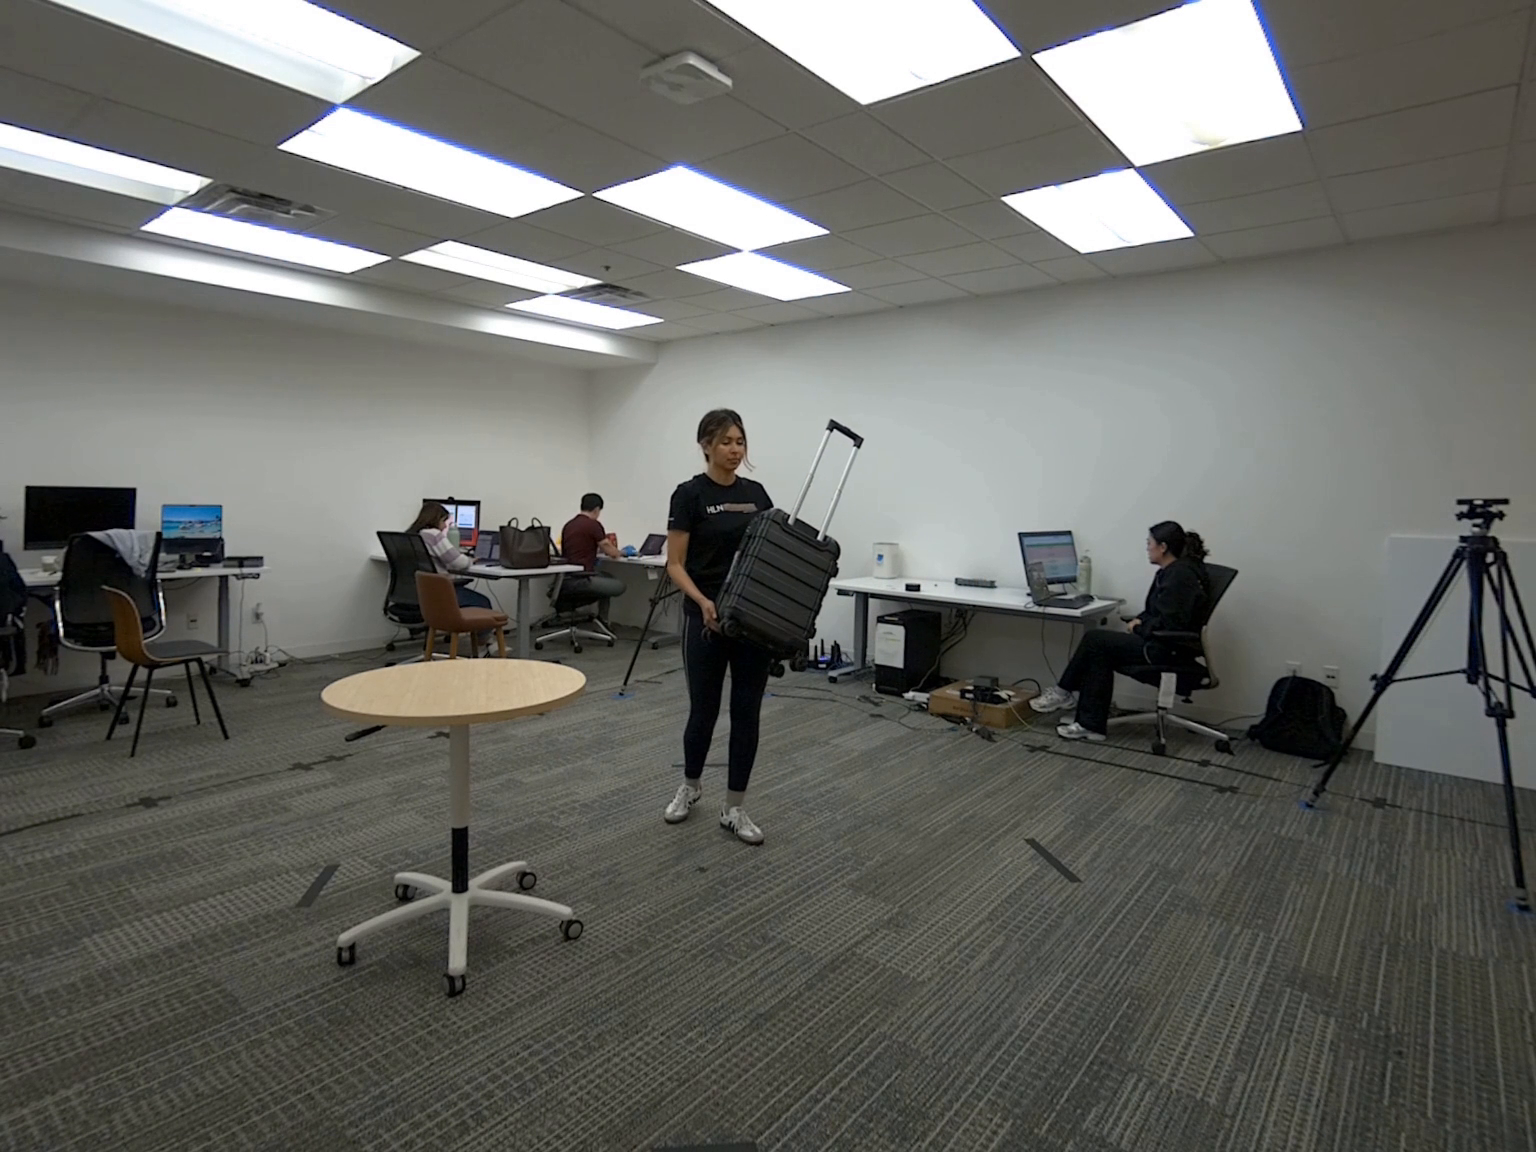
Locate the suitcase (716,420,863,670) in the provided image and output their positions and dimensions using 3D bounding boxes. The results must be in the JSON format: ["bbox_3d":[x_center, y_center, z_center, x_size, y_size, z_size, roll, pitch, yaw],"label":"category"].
[{"bbox_3d":[0.087,-0.148,3.286,0.378,0.989,0.258,27,-23,-12],"label":"suitcase"}]
